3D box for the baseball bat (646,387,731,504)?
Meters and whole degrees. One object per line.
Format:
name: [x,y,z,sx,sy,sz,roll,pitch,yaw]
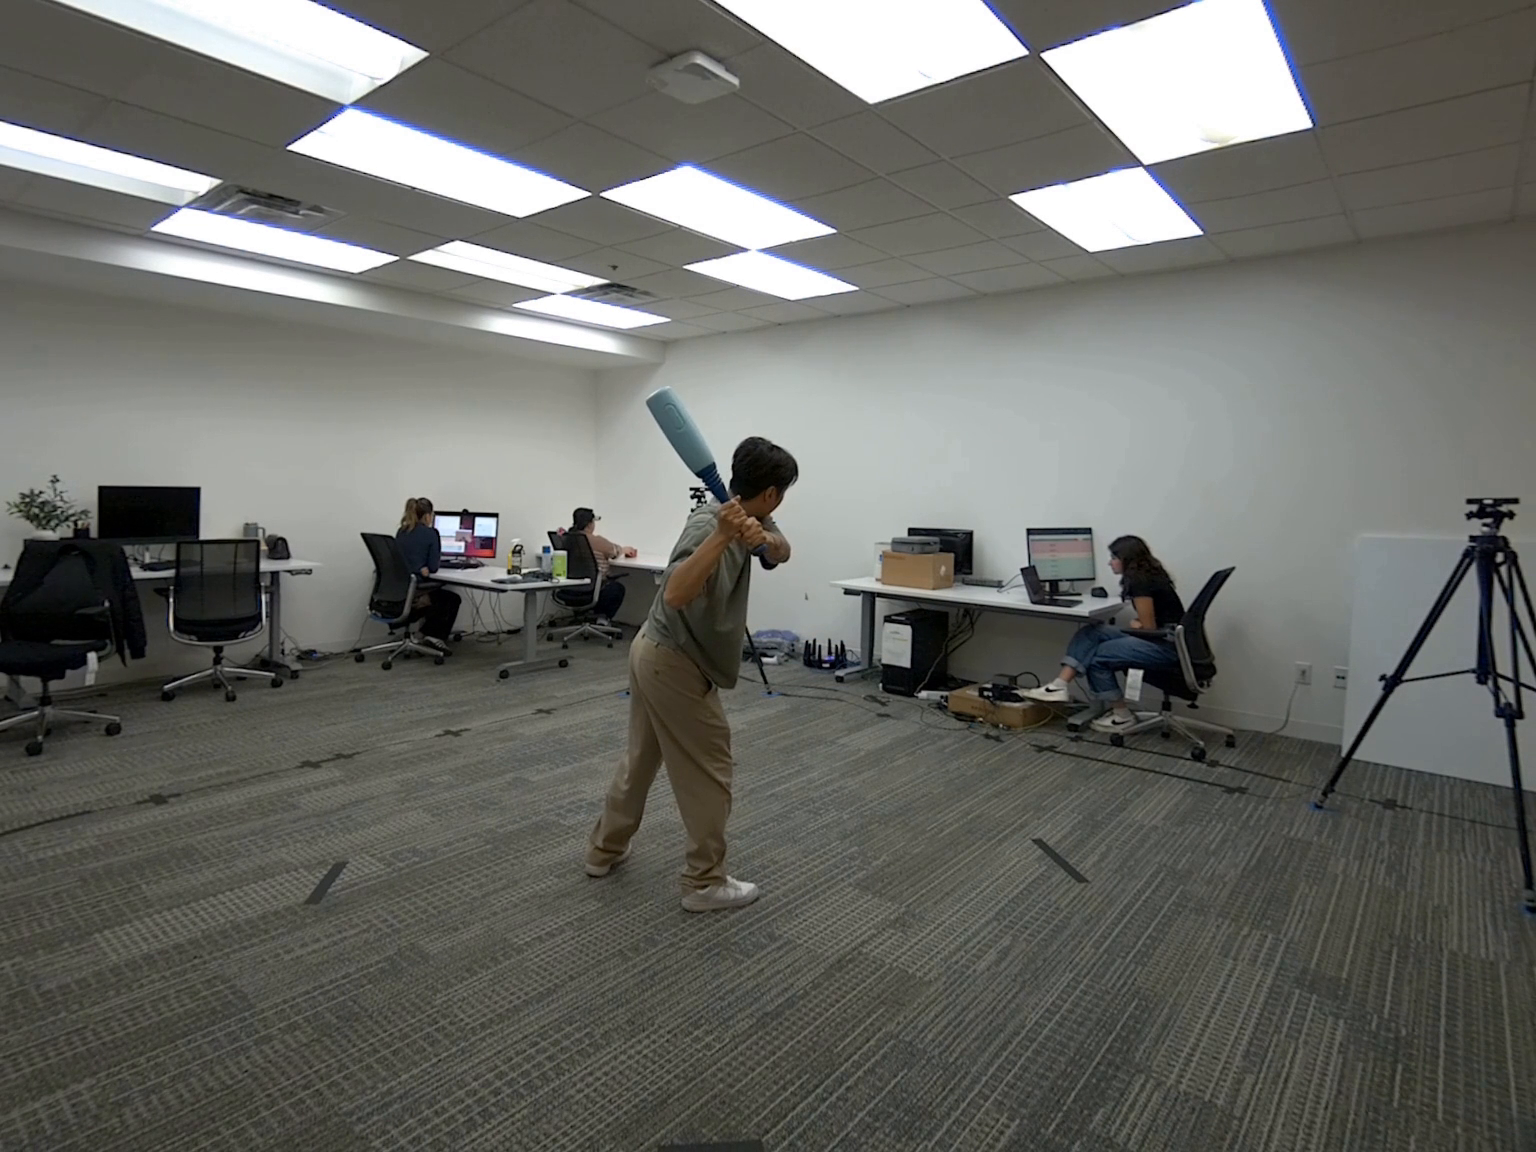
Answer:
baseball bat: [-0.171,-0.288,2.402,0.089,0.538,0.089,-32,6,3]
